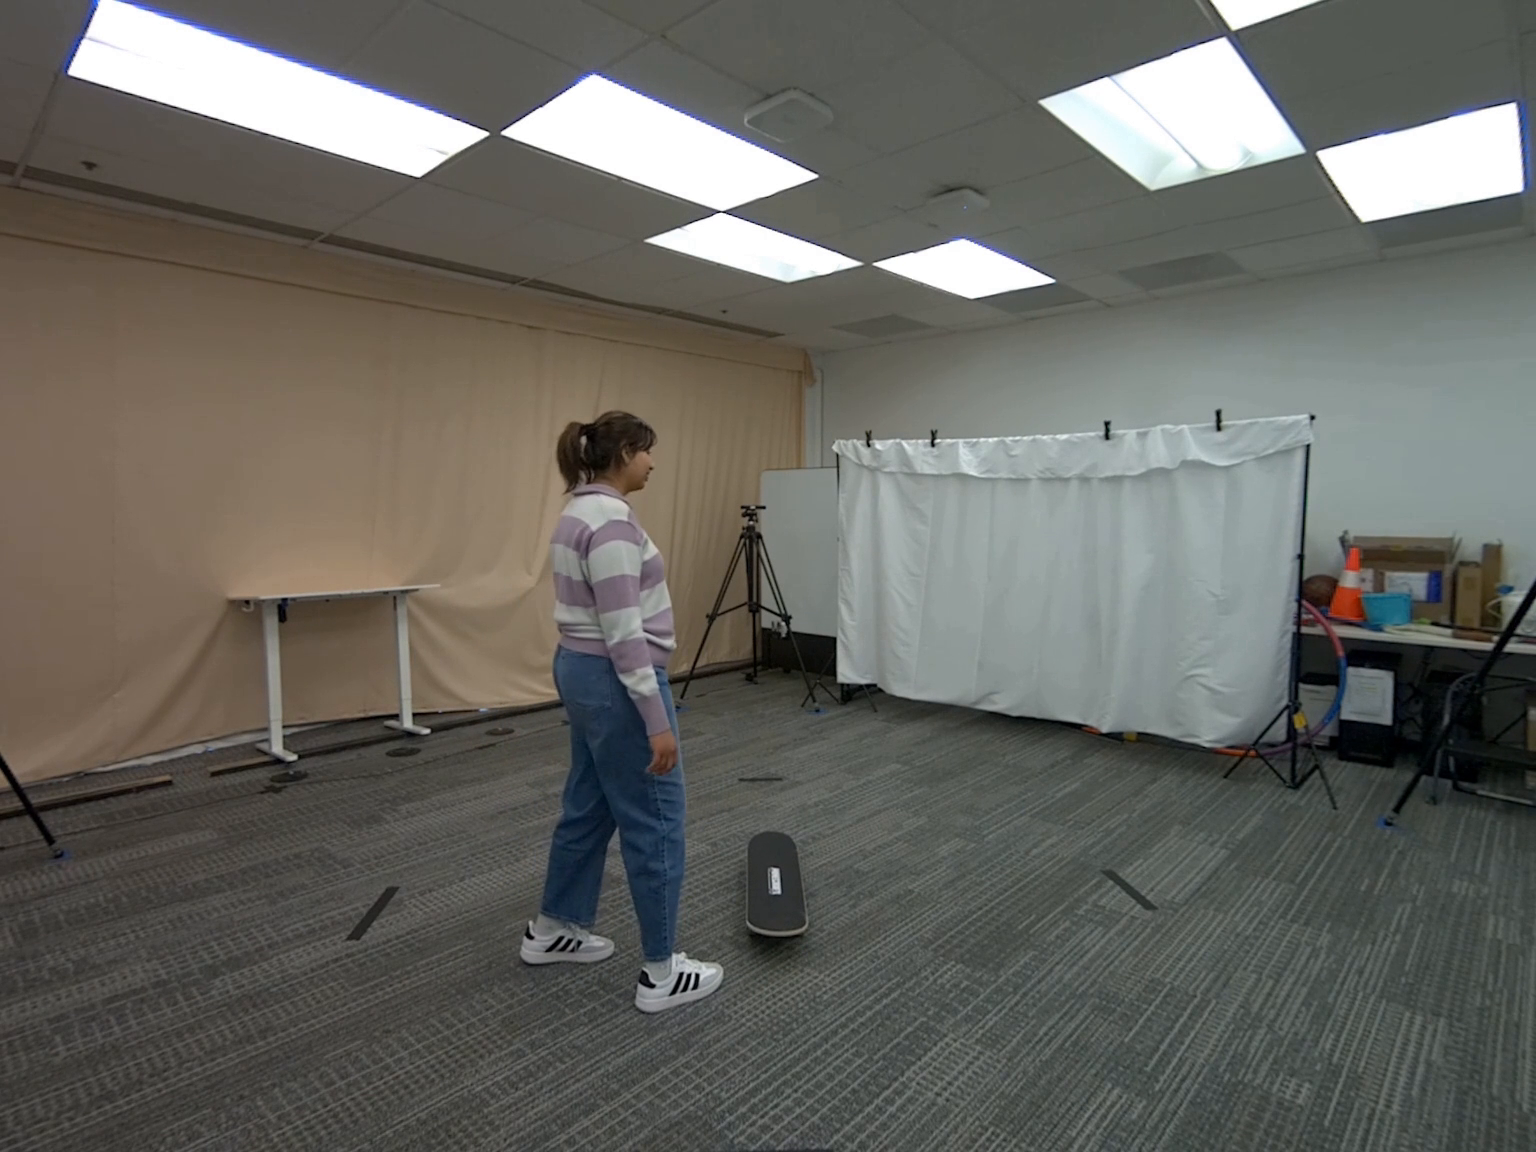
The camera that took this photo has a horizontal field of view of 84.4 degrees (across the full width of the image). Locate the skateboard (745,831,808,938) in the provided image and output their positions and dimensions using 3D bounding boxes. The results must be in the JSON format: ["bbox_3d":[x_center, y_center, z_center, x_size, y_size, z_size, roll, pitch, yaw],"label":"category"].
[{"bbox_3d":[0.025,1.088,2.927,0.193,0.110,0.787,-1,5,-1],"label":"skateboard"}]
